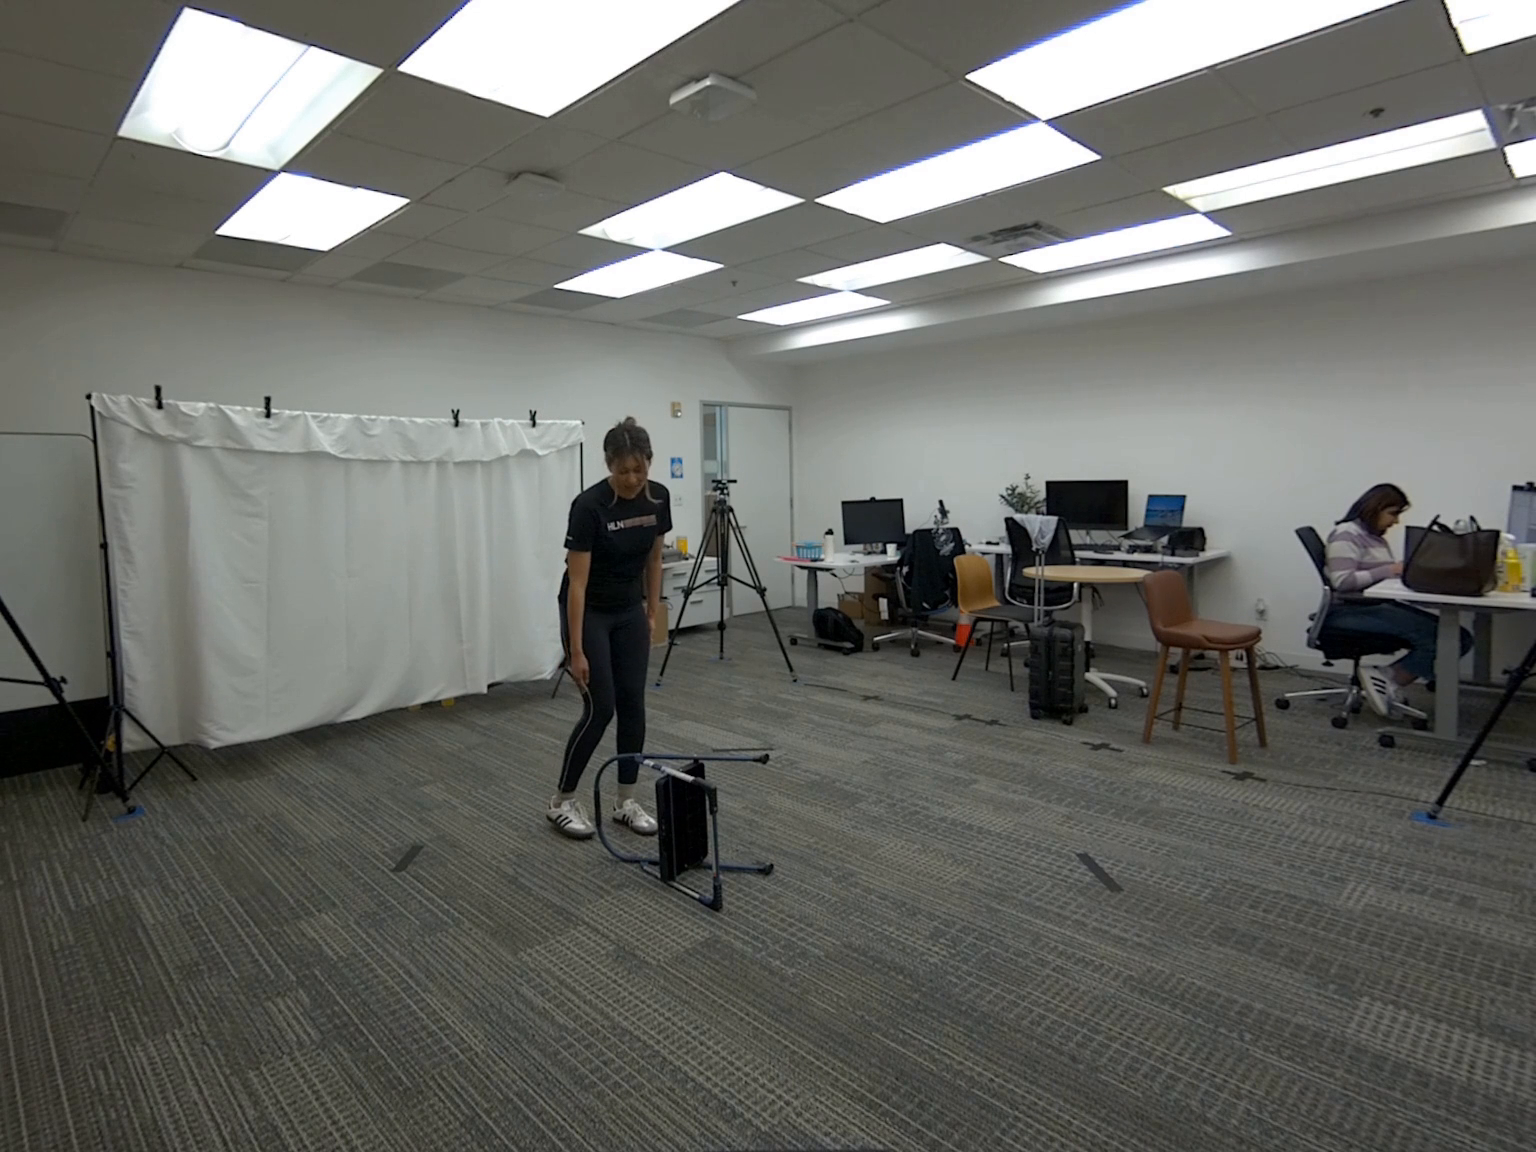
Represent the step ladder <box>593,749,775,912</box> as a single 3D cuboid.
[{"bbox_3d":[-0.338,0.856,3.050,0.622,0.429,0.341,1,5,33],"label":"step ladder"}]
